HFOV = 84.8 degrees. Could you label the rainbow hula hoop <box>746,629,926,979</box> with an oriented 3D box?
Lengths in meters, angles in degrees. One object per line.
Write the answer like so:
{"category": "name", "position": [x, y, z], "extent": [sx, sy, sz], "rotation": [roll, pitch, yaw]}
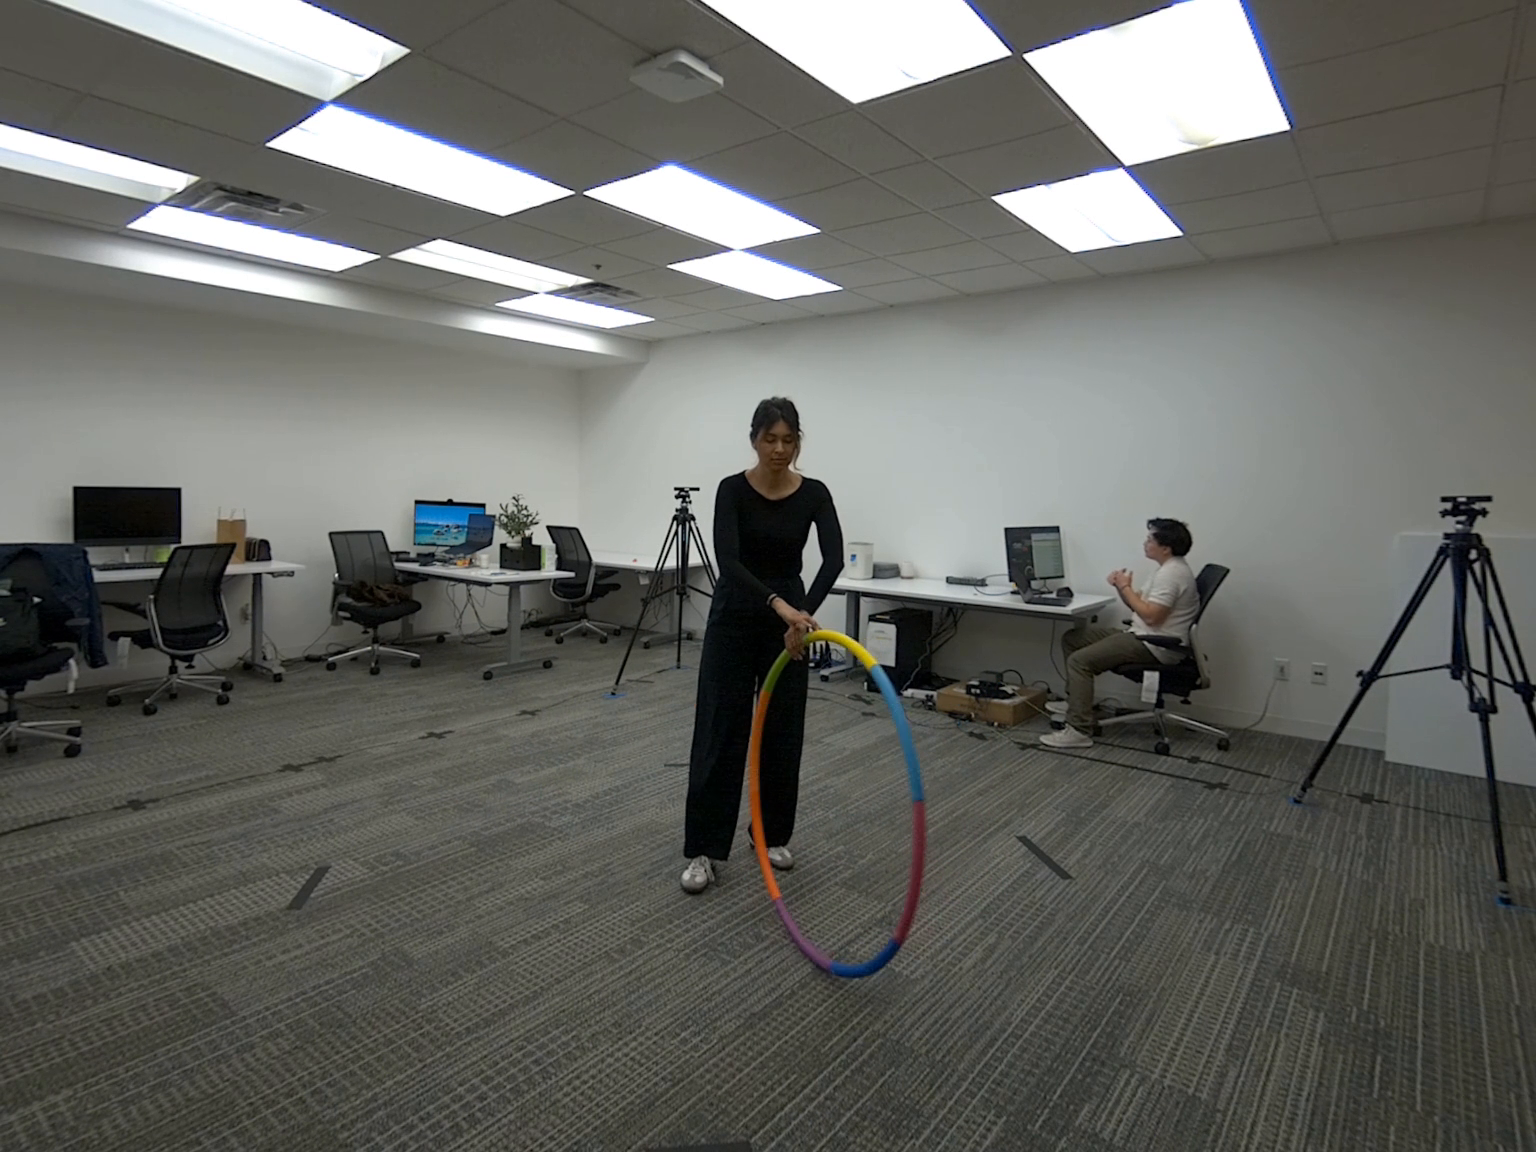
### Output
{"category": "rainbow hula hoop", "position": [0.158, 0.646, 2.534], "extent": [0.035, 0.977, 1.004], "rotation": [5, 2, -25]}
